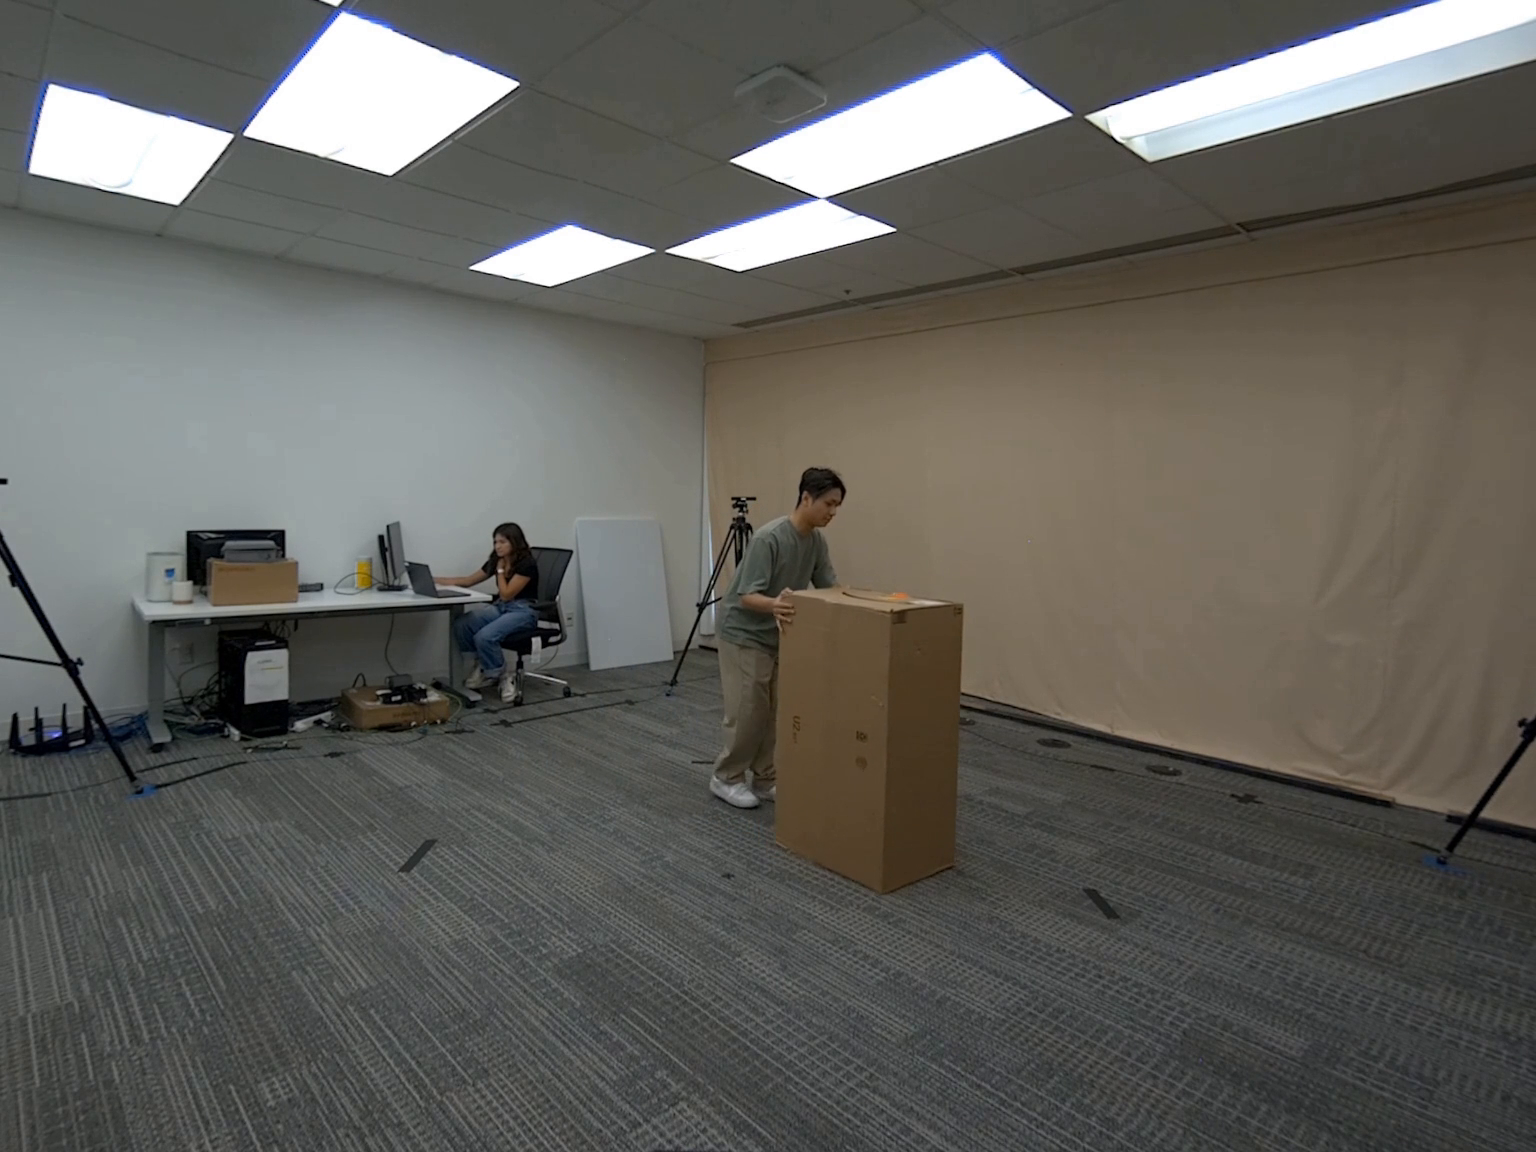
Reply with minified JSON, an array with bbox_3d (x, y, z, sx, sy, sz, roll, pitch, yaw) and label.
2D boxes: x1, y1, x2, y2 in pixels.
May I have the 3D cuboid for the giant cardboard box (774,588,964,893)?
[{"bbox_3d":[0.380,0.596,3.301,0.416,1.023,0.592,-1,4,-41],"label":"giant cardboard box"}]
